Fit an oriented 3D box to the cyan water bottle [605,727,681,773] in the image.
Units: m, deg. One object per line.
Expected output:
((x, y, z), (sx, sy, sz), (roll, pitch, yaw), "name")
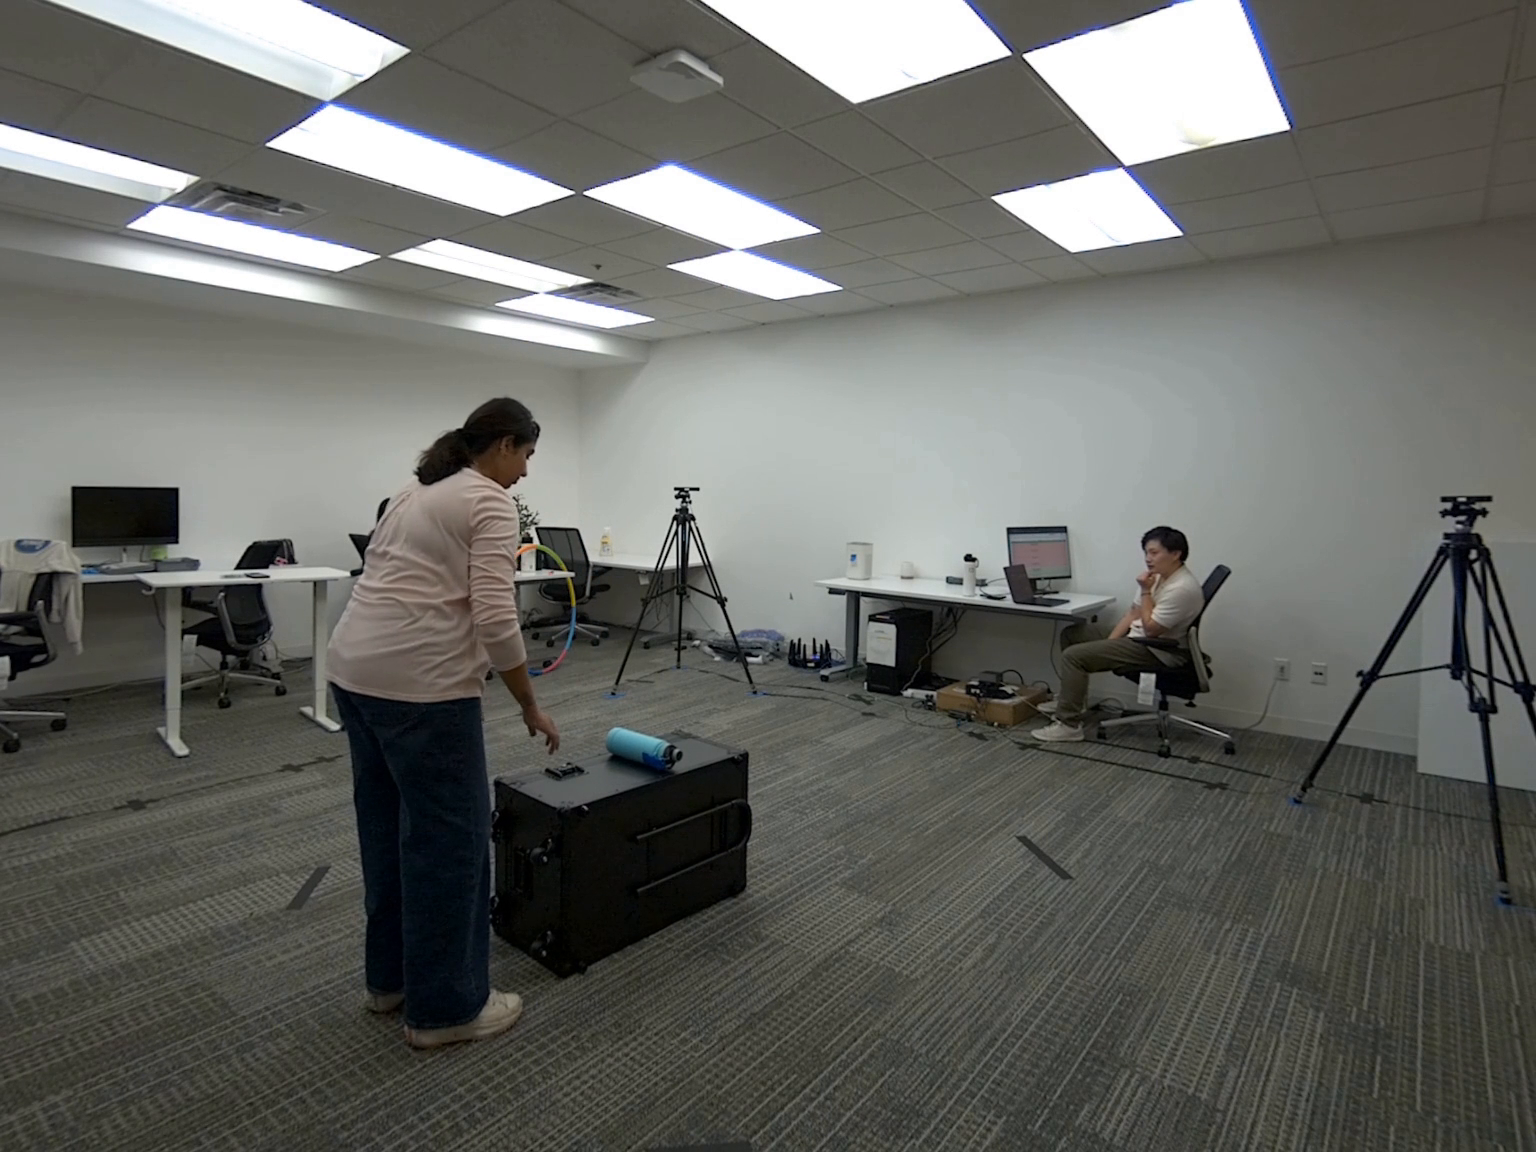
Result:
((-0.414, 0.564, 2.800), (0.293, 0.092, 0.089), (7, 7, 38), "cyan water bottle")
